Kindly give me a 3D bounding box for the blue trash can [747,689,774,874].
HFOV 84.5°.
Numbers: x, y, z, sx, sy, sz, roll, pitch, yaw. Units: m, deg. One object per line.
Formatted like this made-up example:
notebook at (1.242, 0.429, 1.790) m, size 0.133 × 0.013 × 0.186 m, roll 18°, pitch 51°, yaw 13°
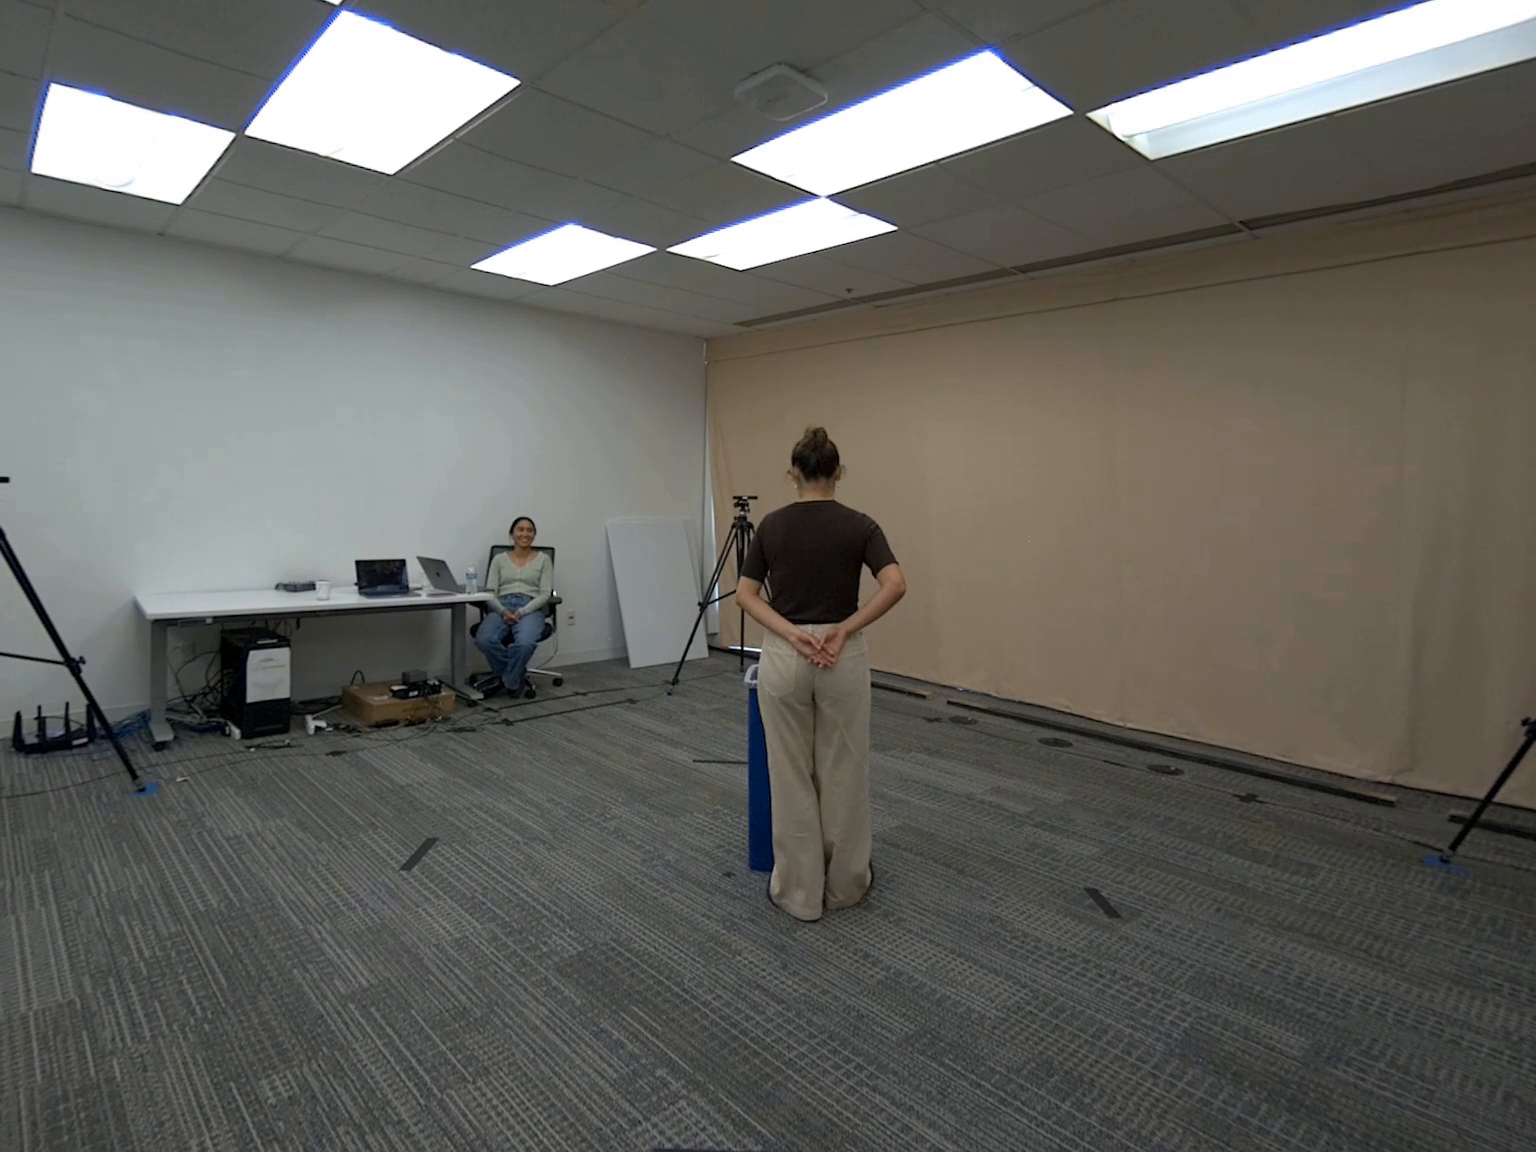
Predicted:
blue trash can at (0.101, 0.741, 3.263) m, size 0.375 × 0.712 × 0.377 m, roll 1°, pitch 3°, yaw 3°
